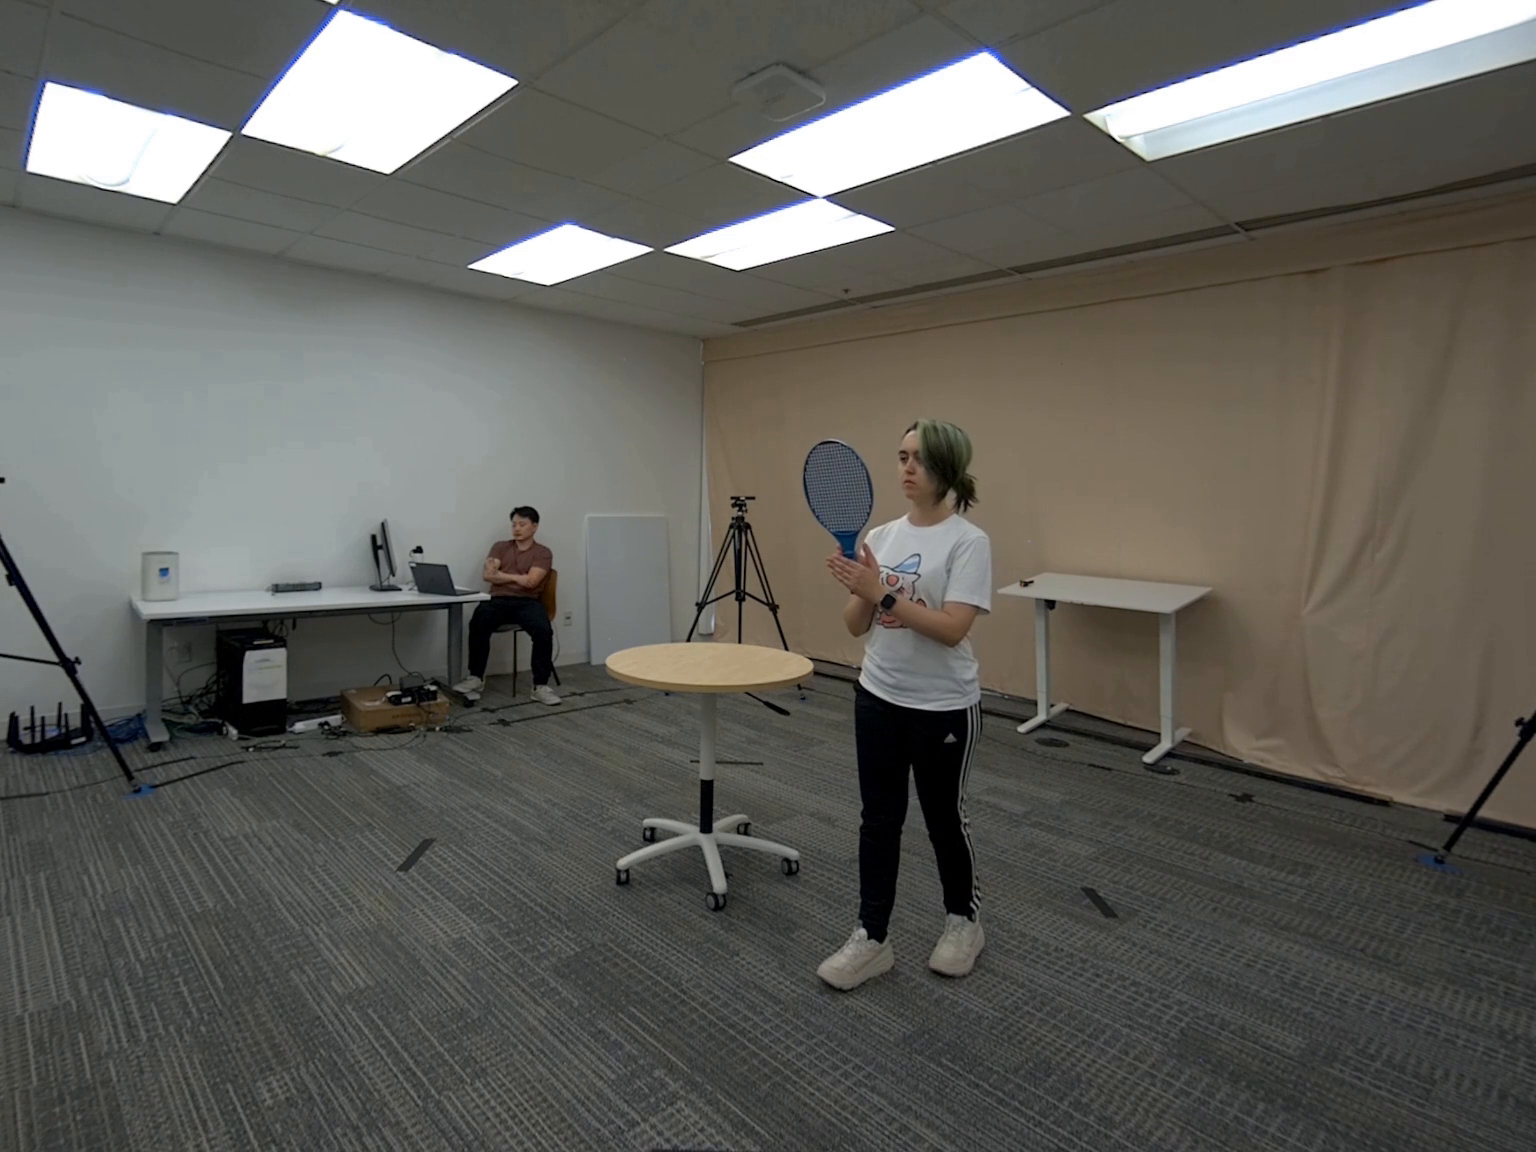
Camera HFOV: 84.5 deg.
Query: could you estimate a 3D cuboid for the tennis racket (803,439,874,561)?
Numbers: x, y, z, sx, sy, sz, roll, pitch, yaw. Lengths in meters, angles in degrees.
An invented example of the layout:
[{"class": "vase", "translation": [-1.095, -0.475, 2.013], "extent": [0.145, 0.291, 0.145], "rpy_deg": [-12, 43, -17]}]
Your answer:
[{"class": "tennis racket", "translation": [0.214, -0.152, 2.284], "extent": [0.218, 0.430, 0.031], "rpy_deg": [-11, 10, 43]}]
